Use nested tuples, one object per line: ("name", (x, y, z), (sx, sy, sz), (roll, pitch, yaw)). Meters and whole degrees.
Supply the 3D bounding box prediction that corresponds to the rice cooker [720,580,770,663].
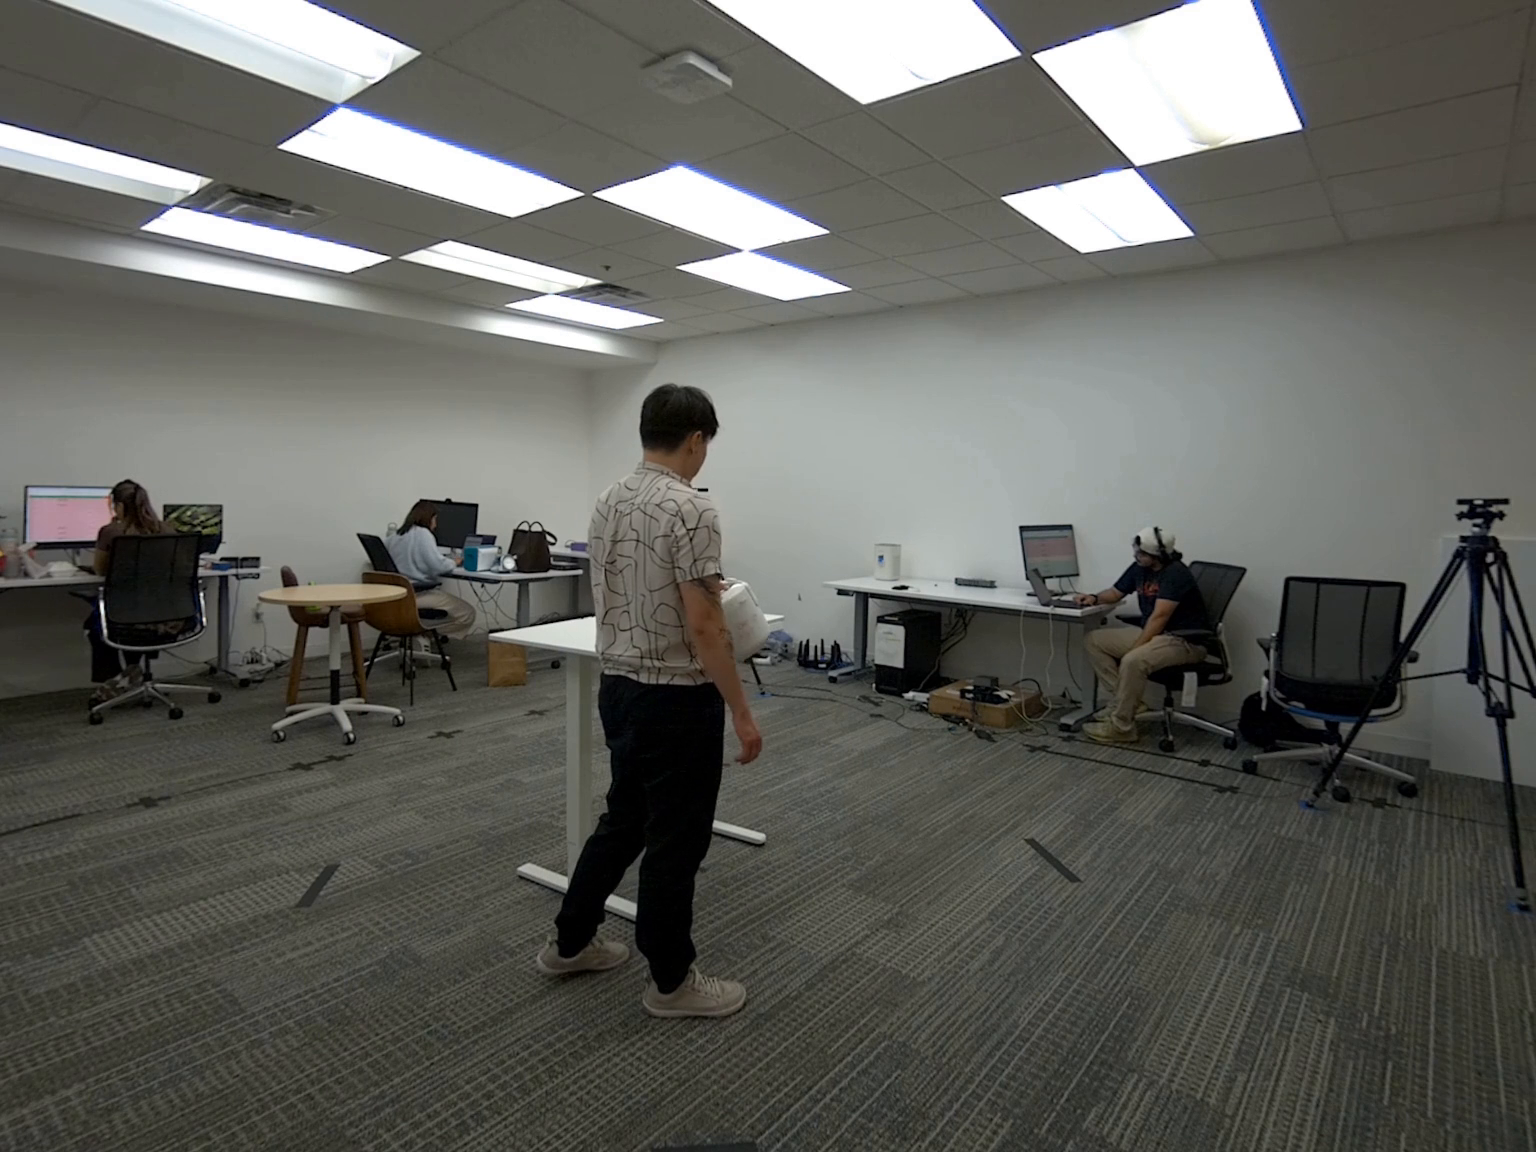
("rice cooker", (-0.144, 0.128, 2.591), (0.221, 0.229, 0.219), (-26, 12, 8))
